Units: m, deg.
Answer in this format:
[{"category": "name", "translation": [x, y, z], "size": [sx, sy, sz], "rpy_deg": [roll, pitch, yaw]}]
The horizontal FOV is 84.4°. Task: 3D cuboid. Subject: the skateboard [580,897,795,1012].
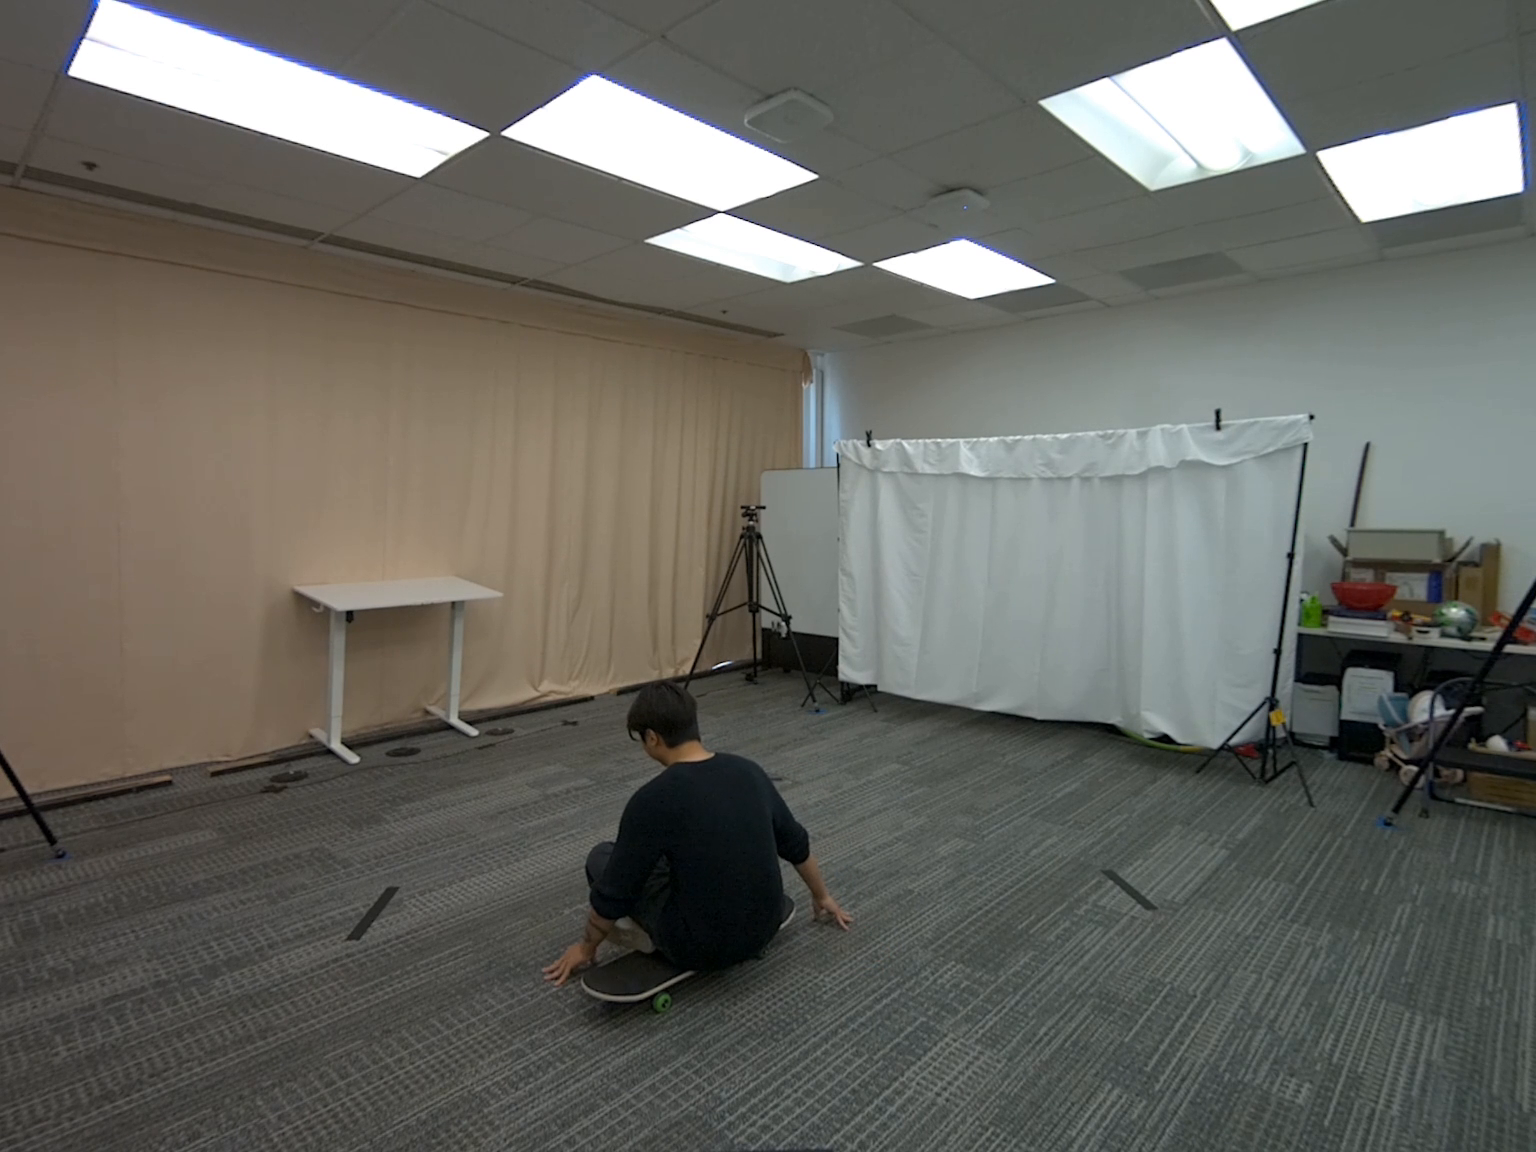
[{"category": "skateboard", "translation": [-0.211, 1.131, 2.519], "size": [0.762, 0.110, 0.200], "rpy_deg": [-5, 6, -42]}]
